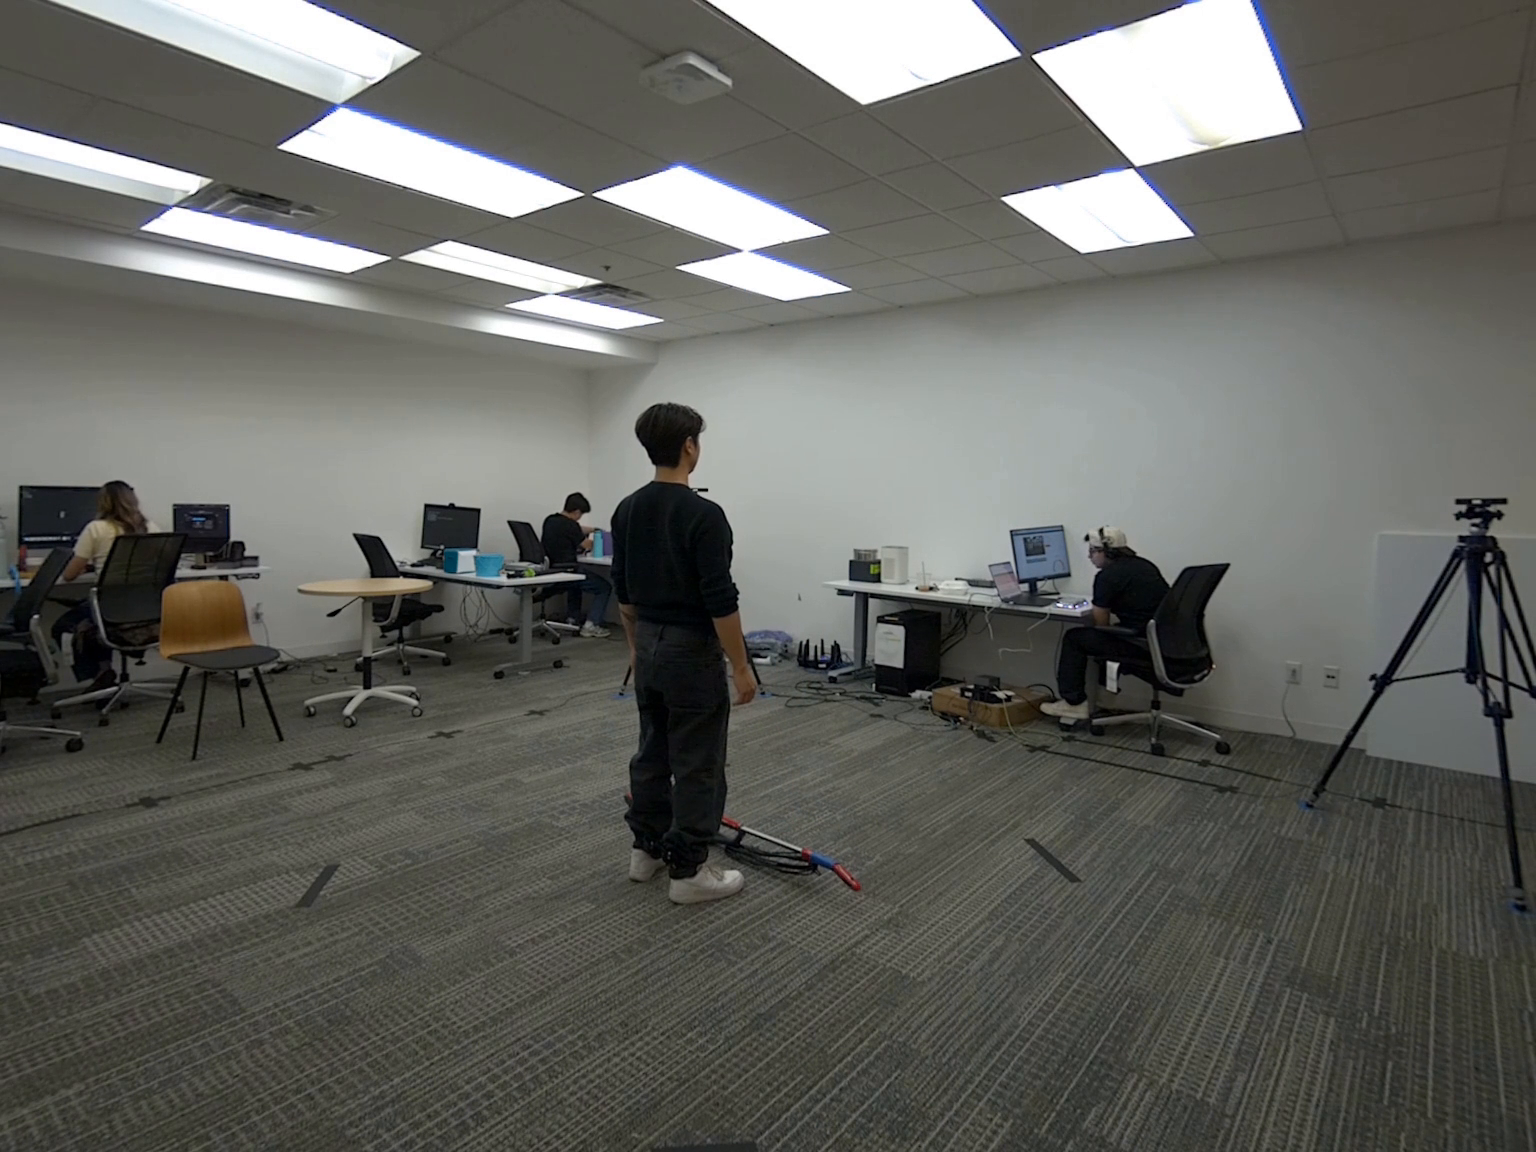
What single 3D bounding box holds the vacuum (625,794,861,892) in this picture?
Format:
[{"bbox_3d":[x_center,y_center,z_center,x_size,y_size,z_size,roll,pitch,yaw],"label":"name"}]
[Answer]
[{"bbox_3d":[-0.094,0.995,3.220,1.086,0.143,0.246,7,11,43],"label":"vacuum"}]
